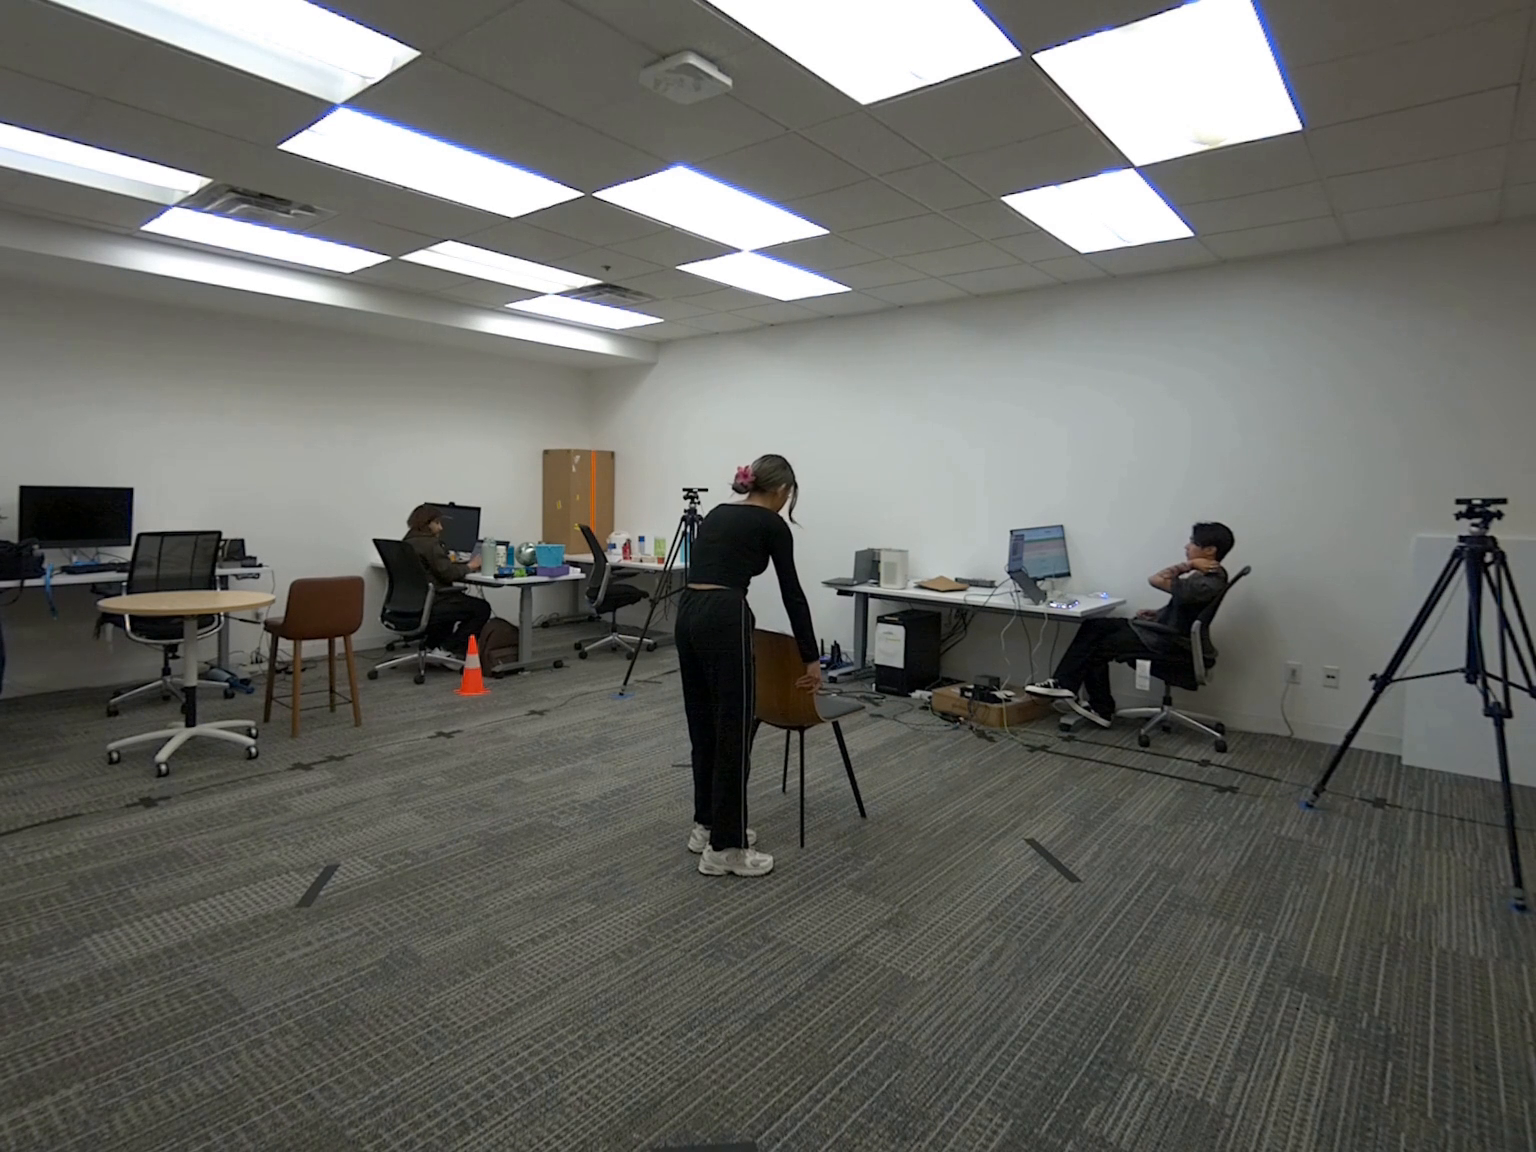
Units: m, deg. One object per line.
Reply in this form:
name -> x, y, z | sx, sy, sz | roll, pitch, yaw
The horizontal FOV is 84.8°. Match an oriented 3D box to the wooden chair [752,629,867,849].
wooden chair -> 0.106, 0.600, 3.605 | 0.494, 0.872, 0.509 | 4, 8, 41
